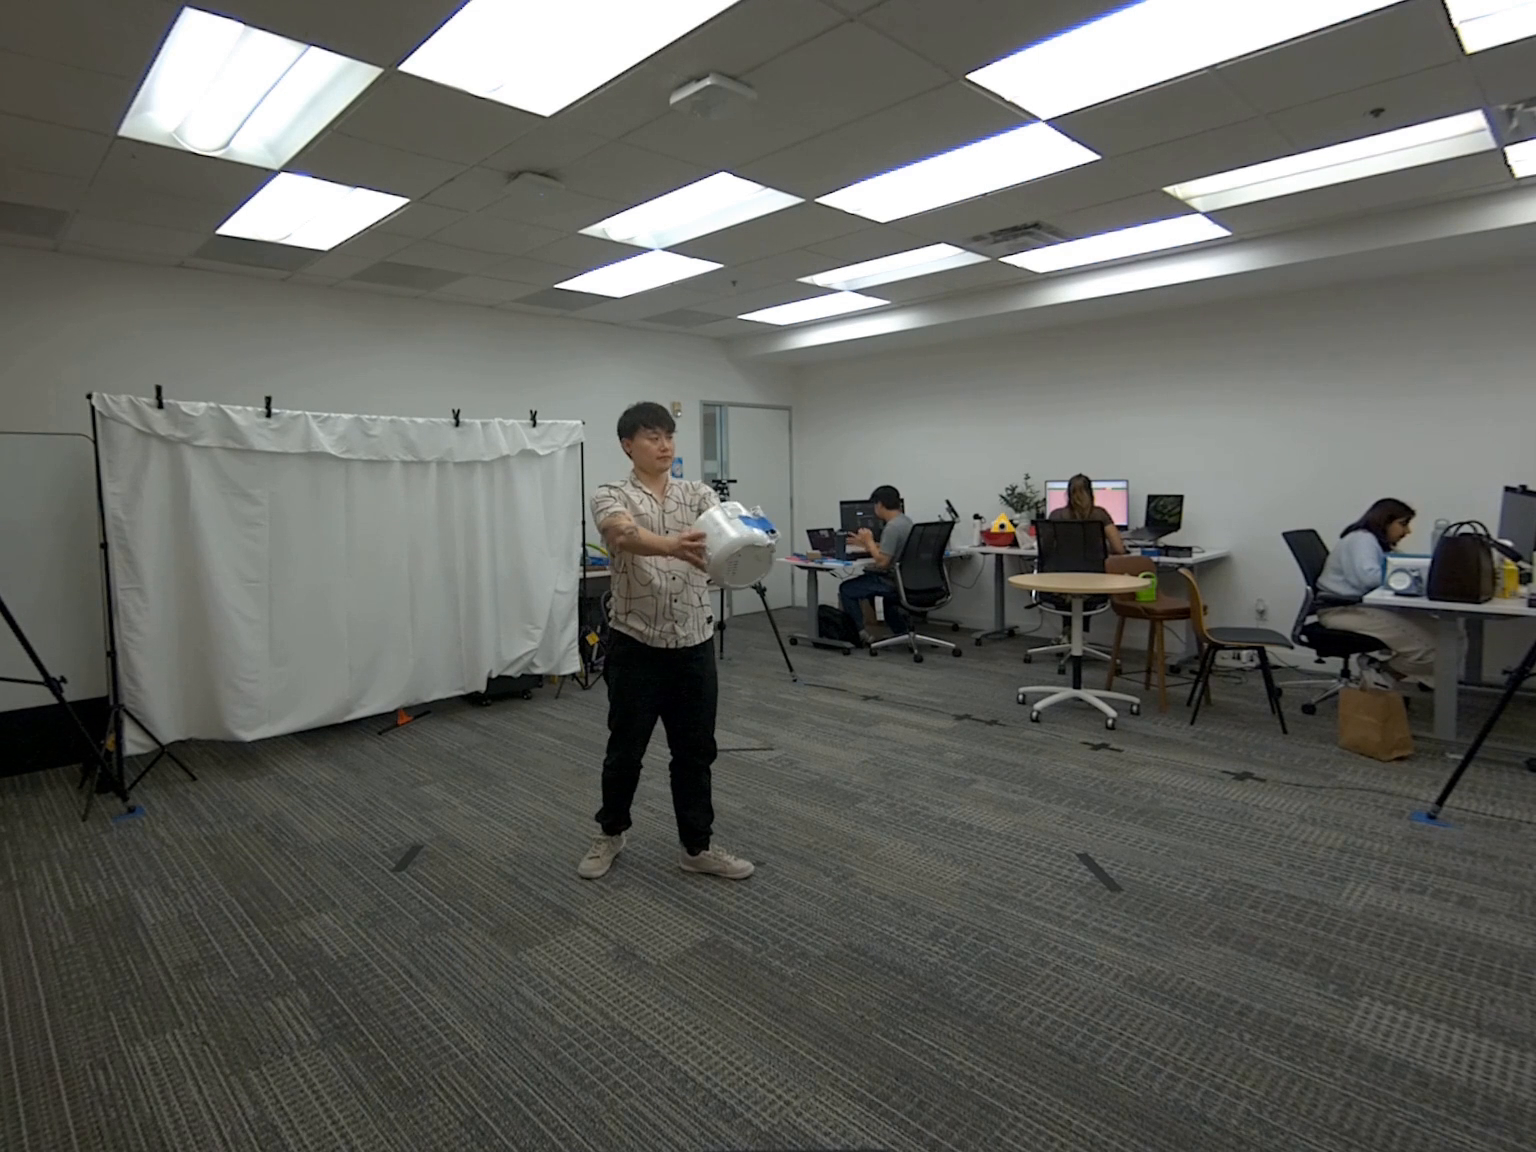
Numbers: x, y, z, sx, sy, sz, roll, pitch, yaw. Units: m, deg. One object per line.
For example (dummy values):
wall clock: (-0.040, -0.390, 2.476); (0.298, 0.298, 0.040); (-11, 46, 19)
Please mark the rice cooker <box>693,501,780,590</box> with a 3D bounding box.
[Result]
rice cooker: (-0.111, -0.096, 2.541); (0.213, 0.217, 0.242); (-3, 36, -27)
